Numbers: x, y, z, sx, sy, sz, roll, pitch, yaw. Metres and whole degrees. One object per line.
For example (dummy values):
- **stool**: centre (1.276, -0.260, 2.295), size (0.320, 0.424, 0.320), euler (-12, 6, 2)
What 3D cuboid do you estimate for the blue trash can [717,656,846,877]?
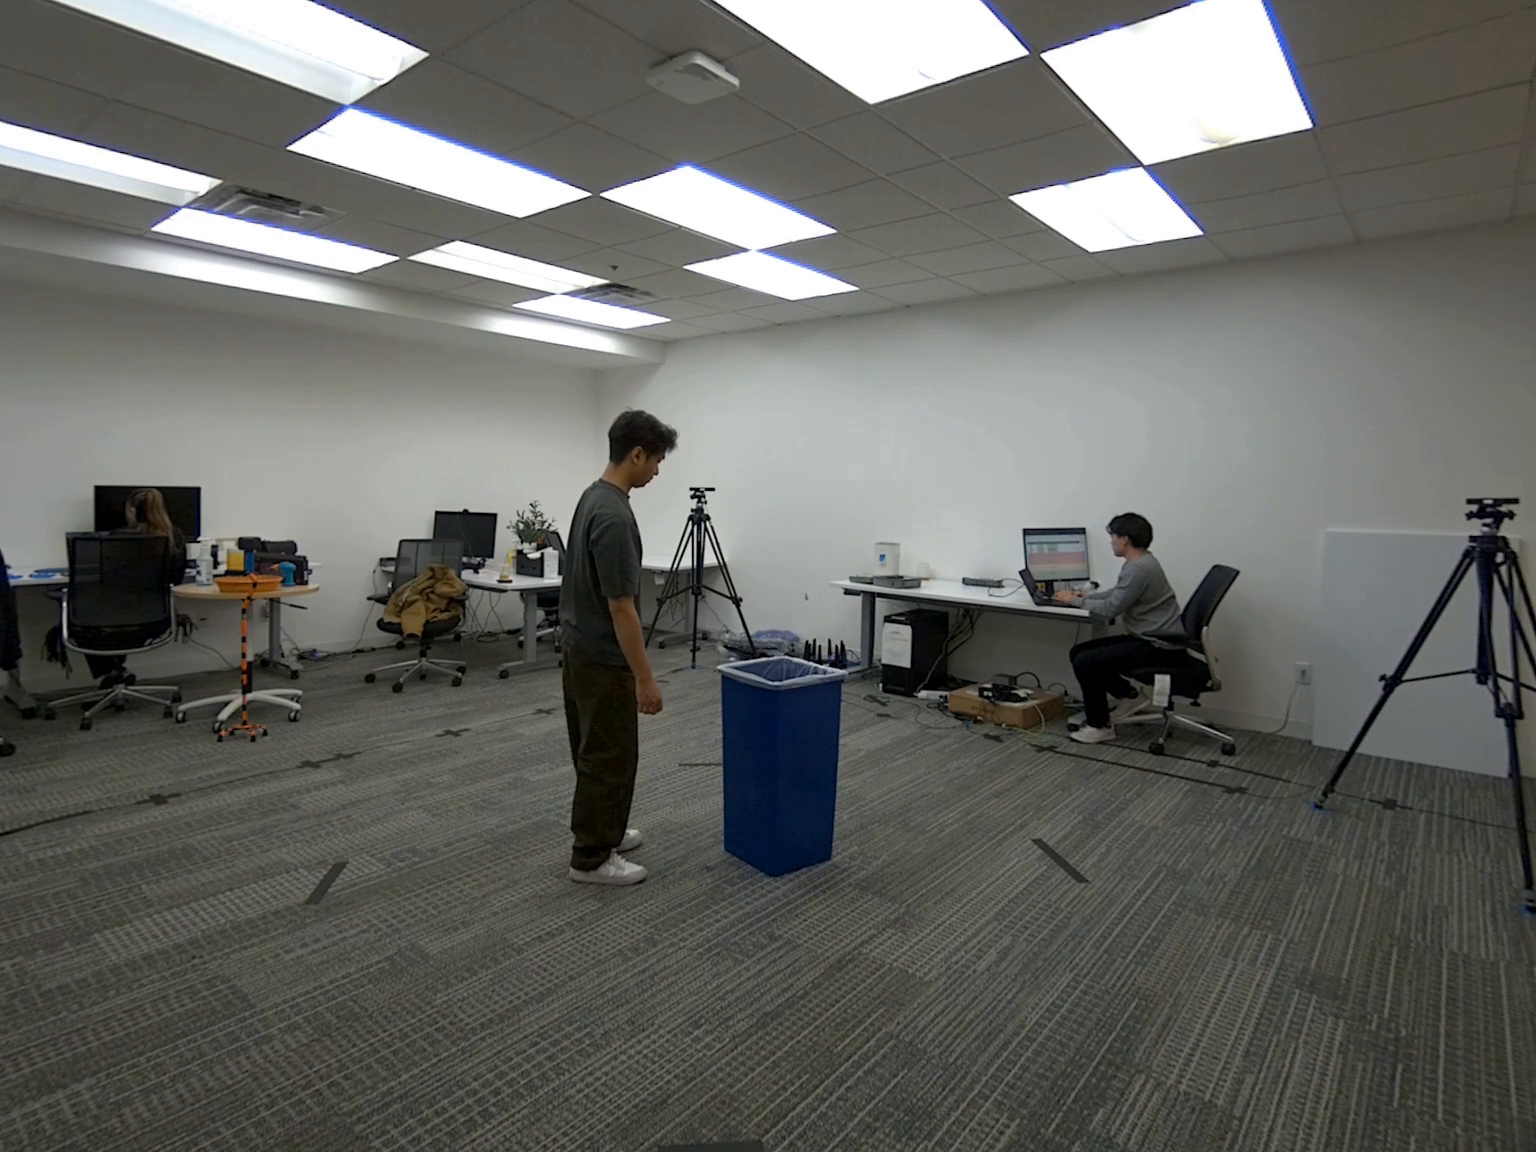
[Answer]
- **blue trash can**: centre (0.043, 0.705, 3.224), size (0.367, 0.712, 0.386), euler (-2, 4, -41)
